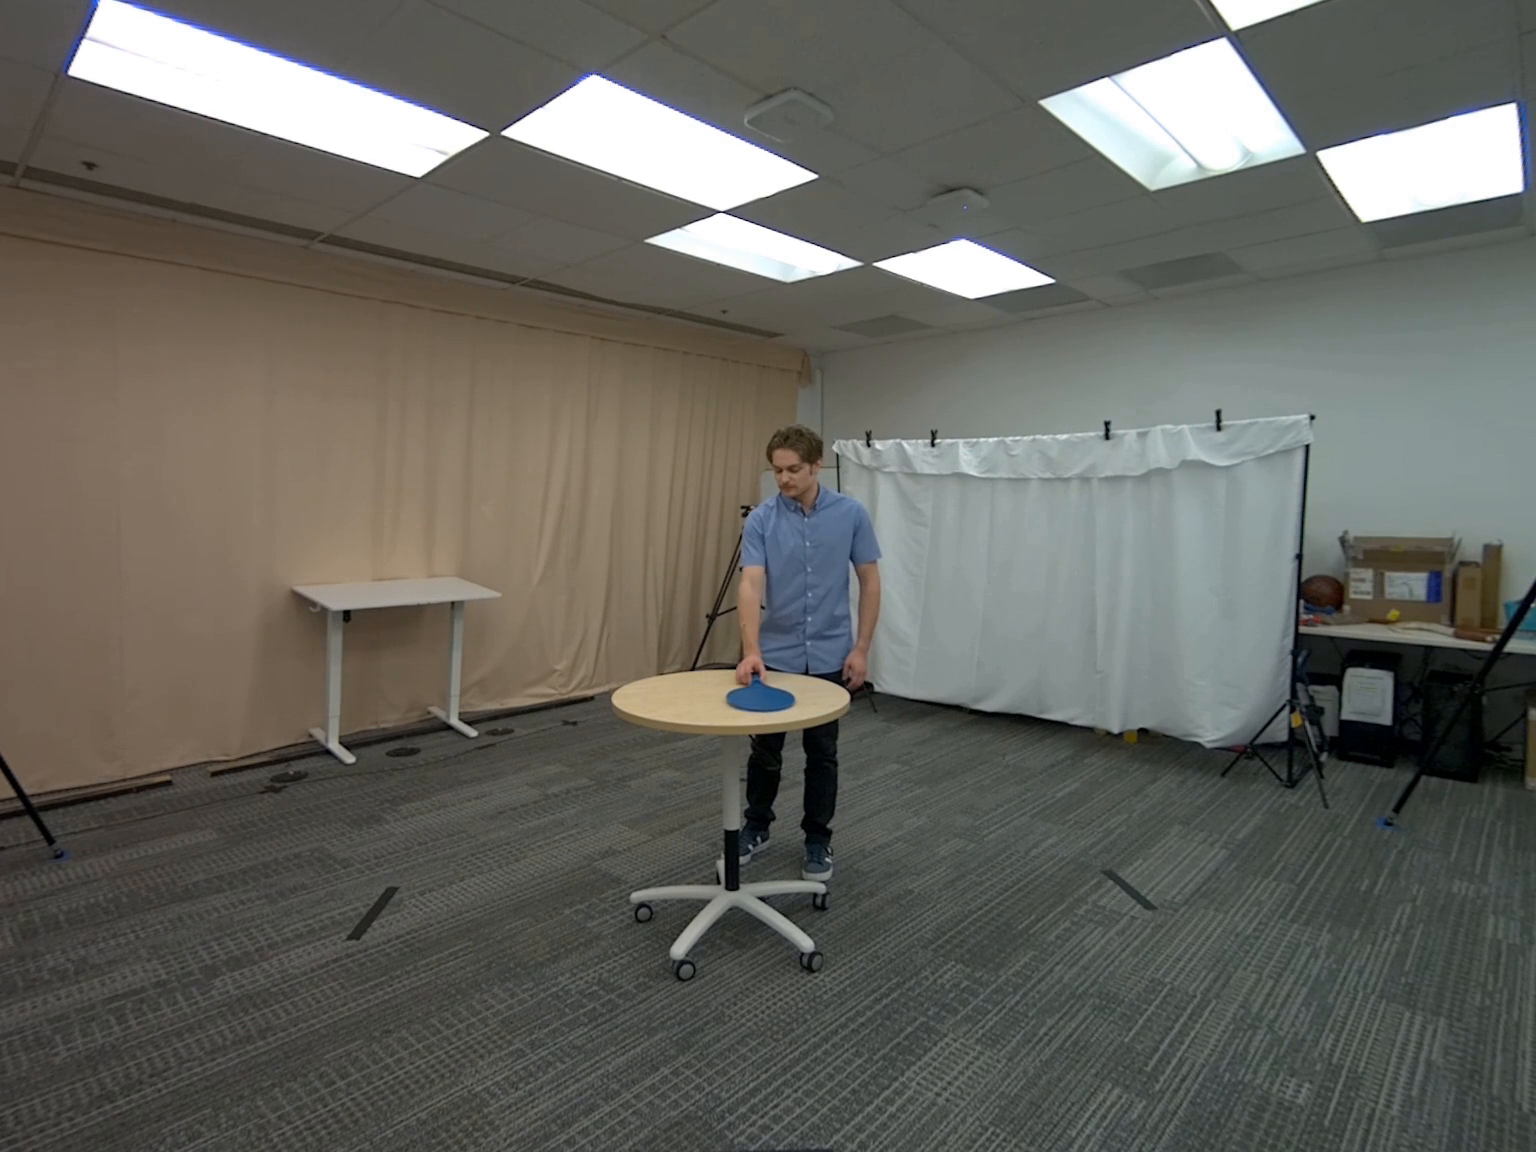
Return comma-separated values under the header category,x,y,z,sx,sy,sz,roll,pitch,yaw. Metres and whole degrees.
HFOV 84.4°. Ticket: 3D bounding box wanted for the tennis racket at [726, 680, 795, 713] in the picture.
category,x,y,z,sx,sy,sz,roll,pitch,yaw
tennis racket,-0.020,0.375,2.698,0.213,0.031,0.435,-1,7,-4
